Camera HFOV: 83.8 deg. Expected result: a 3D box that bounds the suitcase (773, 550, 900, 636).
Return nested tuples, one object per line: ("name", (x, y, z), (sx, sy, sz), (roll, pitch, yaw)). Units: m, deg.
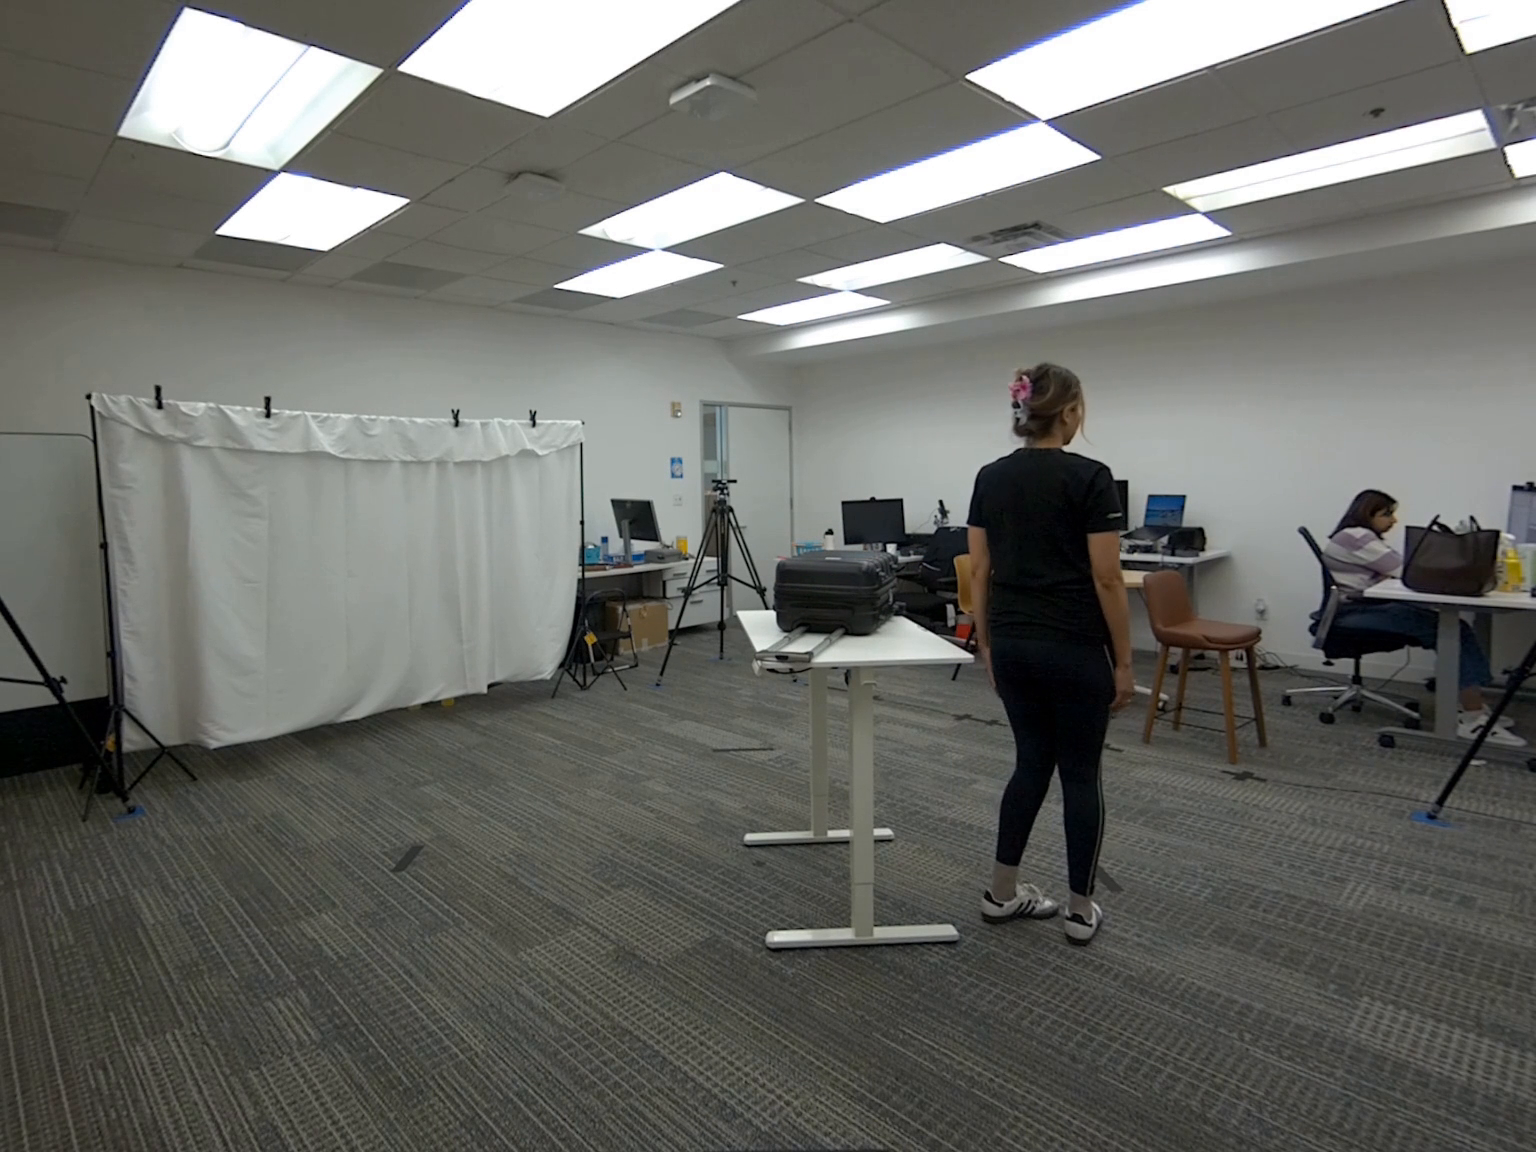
("suitcase", (0.184, 0.068, 2.839), (0.391, 0.256, 0.964), (3, 6, 18))
